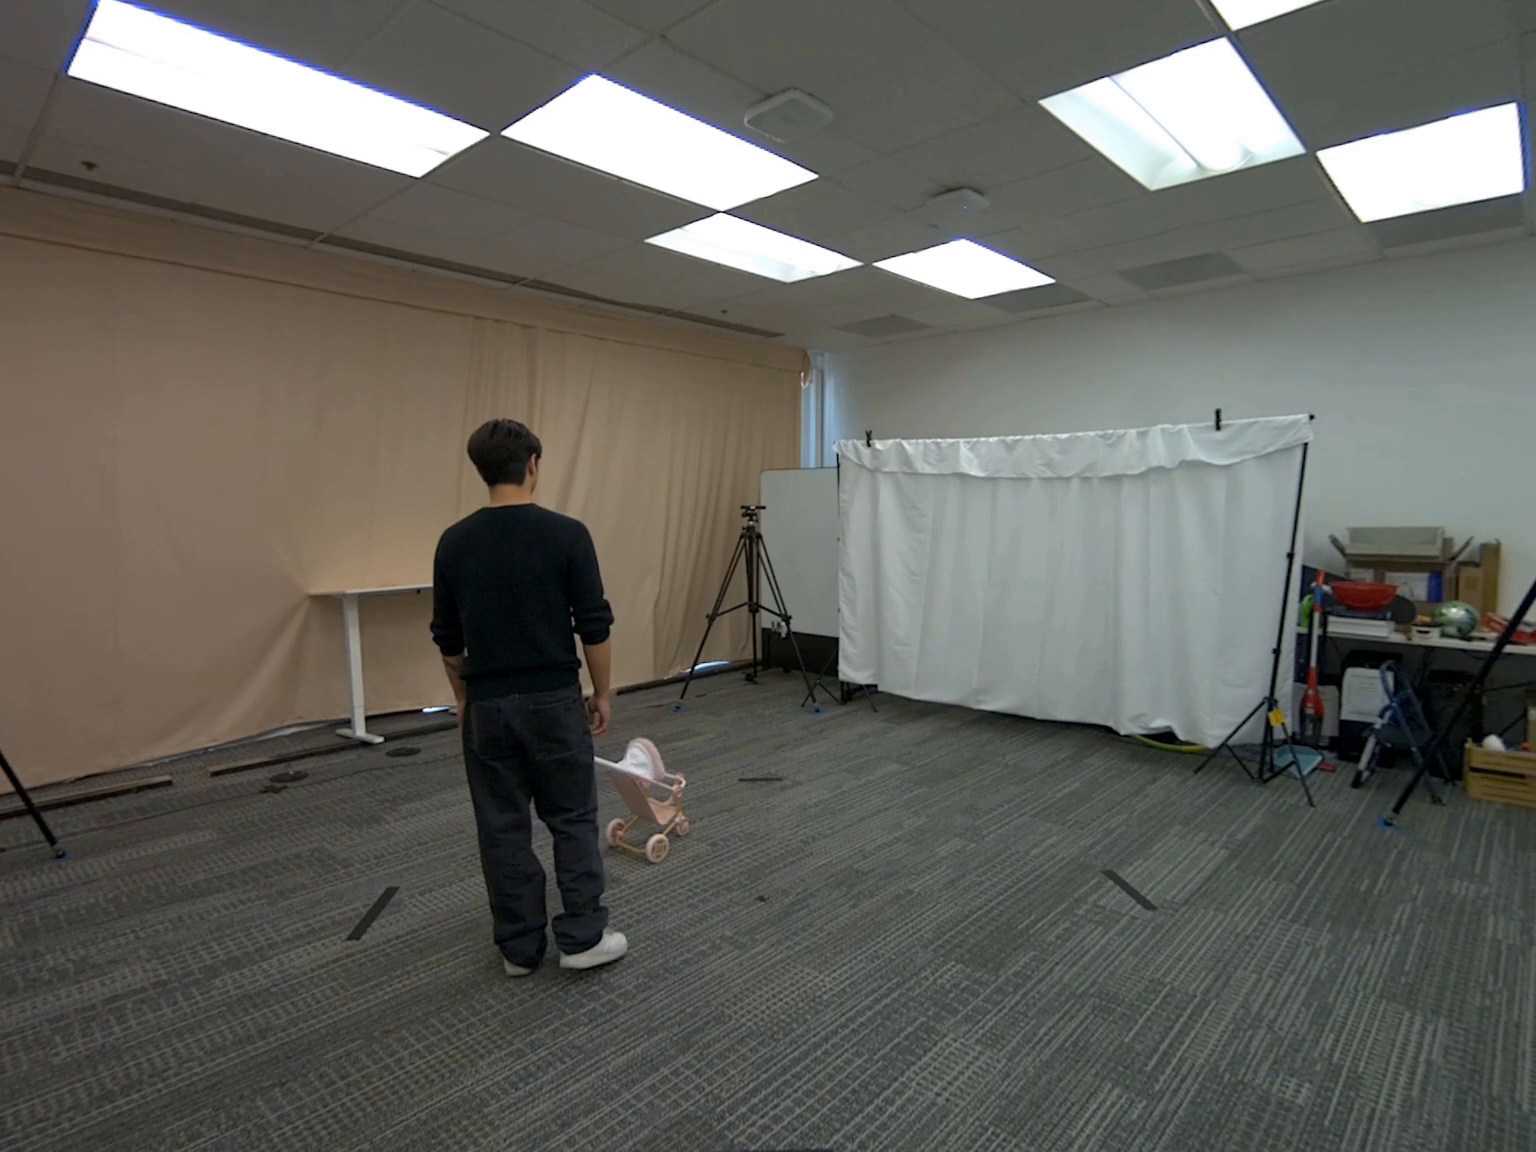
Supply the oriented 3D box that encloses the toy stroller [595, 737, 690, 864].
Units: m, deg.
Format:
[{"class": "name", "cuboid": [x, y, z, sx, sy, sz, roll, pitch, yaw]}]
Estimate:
[{"class": "toy stroller", "cuboid": [-0.490, 0.891, 3.413, 0.291, 0.528, 0.334, 3, 22, 45]}]
